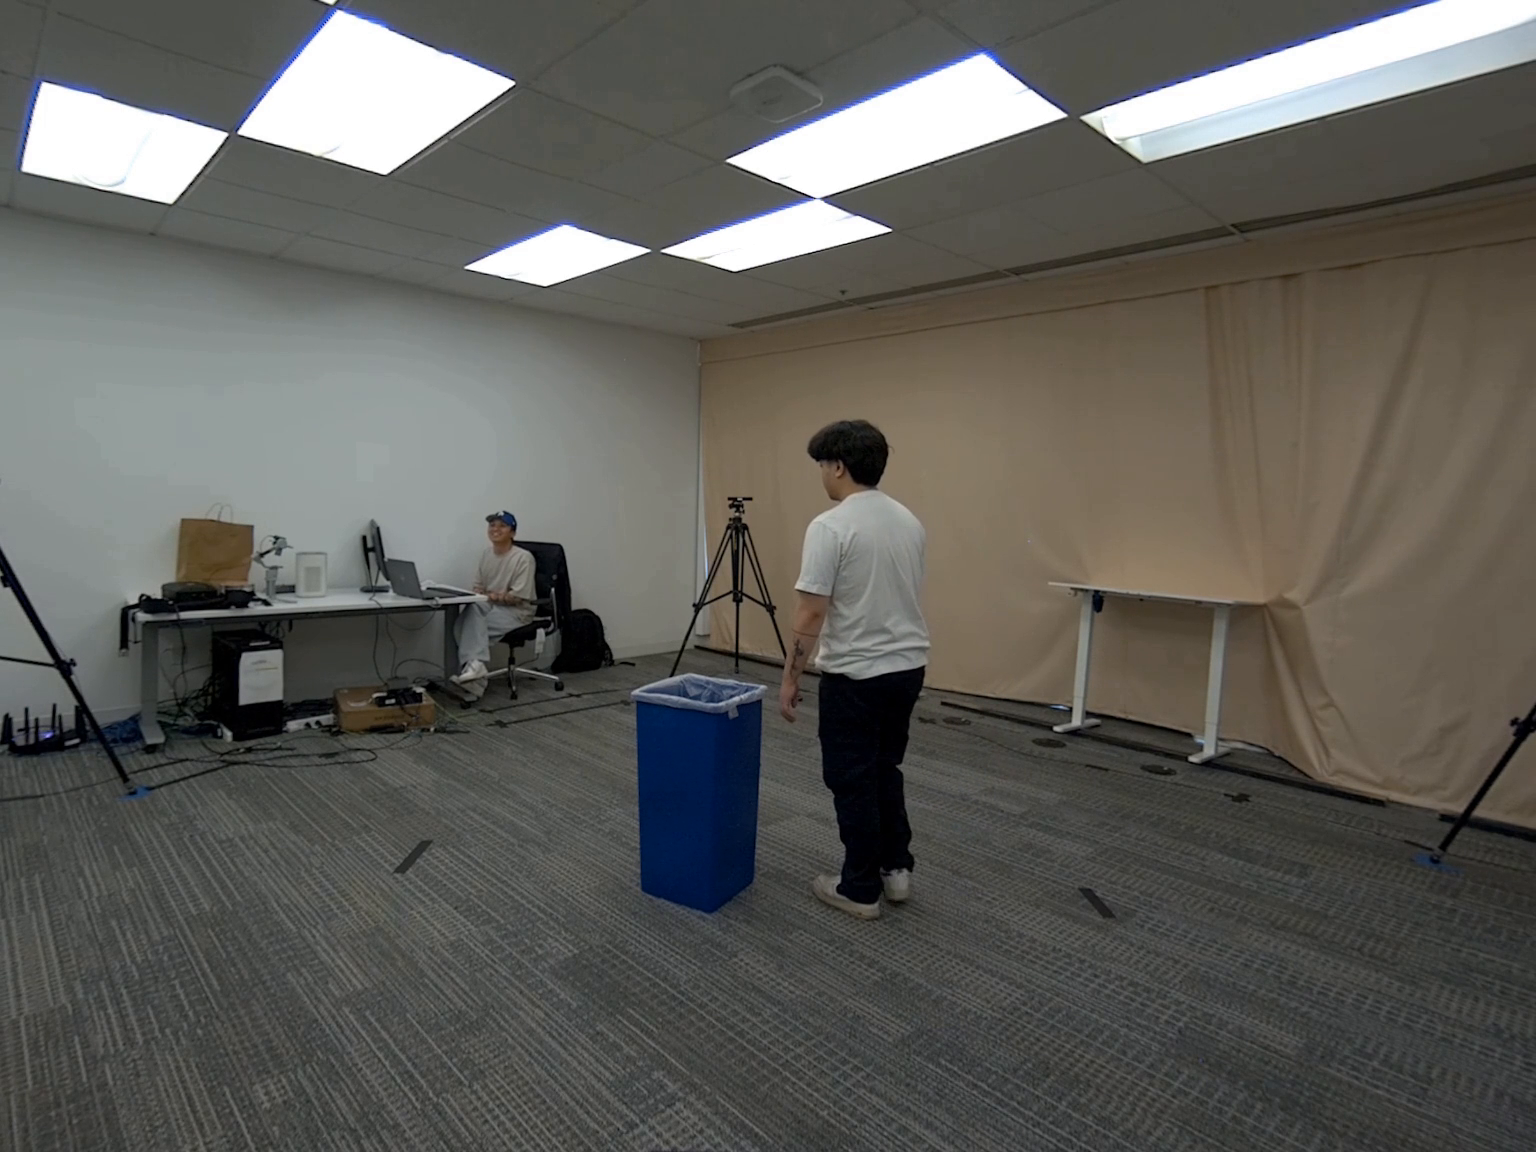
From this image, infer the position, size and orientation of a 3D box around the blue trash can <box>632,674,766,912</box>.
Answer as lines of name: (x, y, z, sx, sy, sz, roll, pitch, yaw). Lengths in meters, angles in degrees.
blue trash can: (-0.255, 0.751, 3.006, 0.382, 0.712, 0.370, 3, 4, 30)
